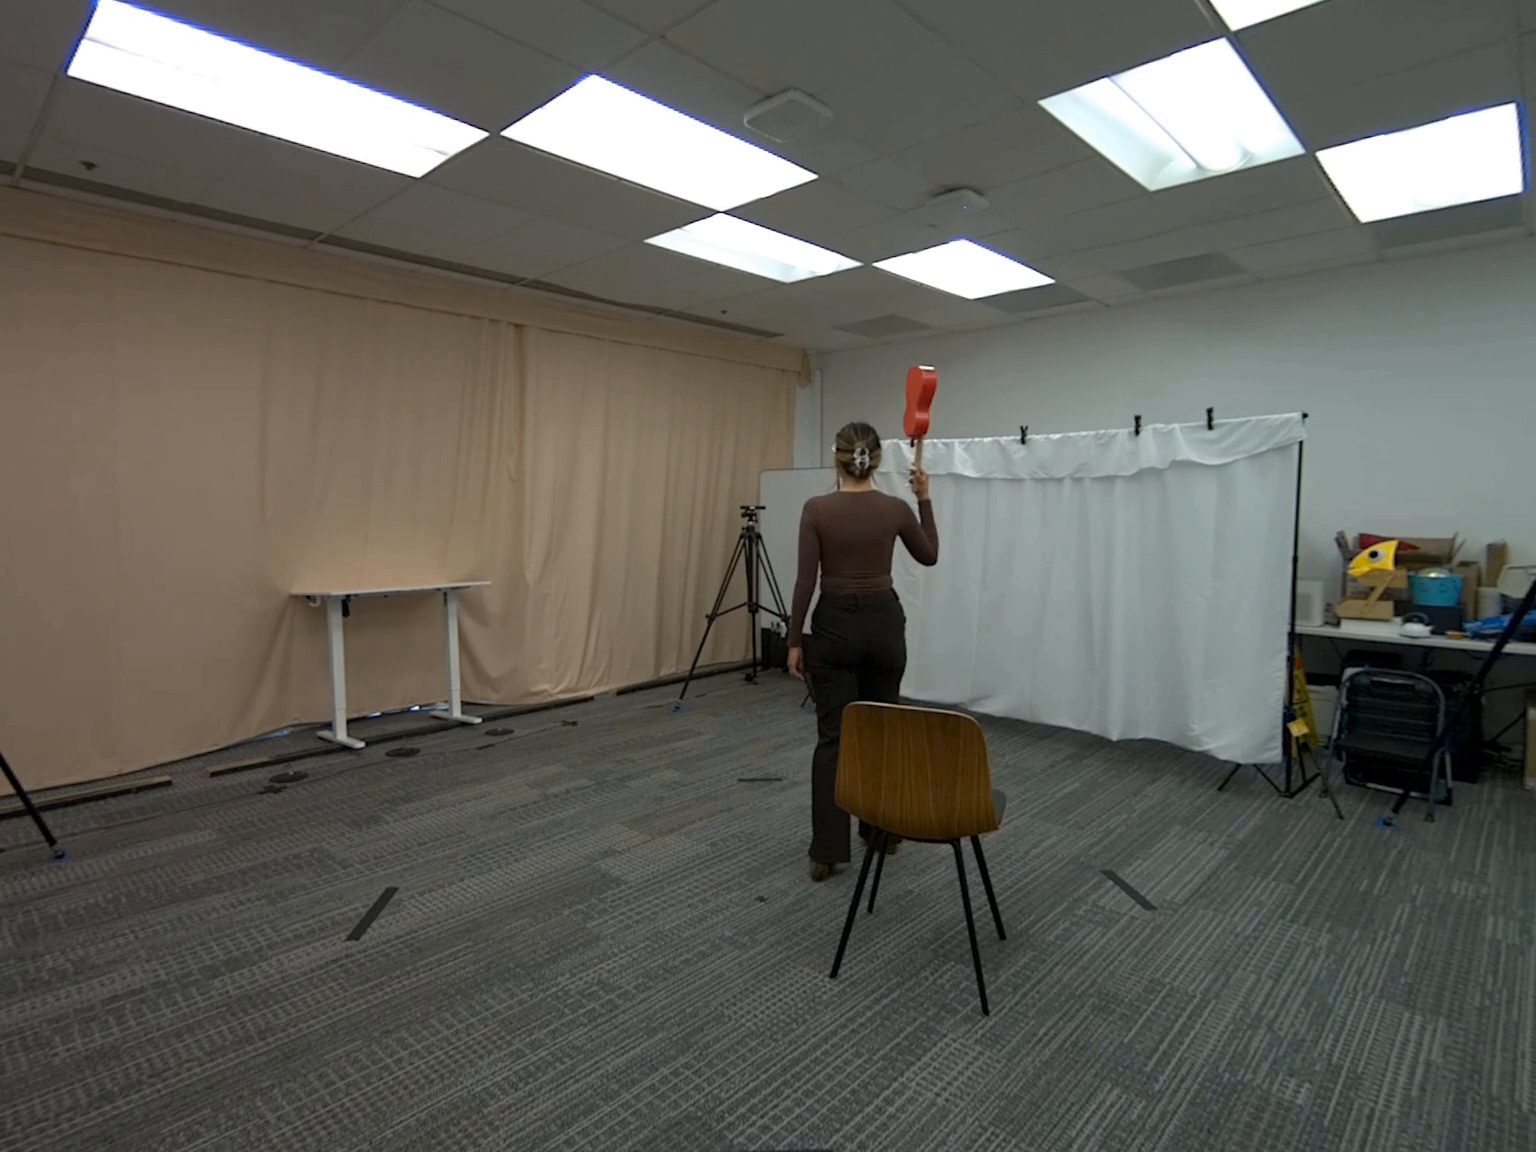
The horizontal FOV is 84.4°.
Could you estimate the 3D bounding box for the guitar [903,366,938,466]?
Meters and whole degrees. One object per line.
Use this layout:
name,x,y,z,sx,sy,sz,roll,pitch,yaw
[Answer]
guitar,0.601,-0.573,3.303,0.070,0.496,0.195,2,6,-10
